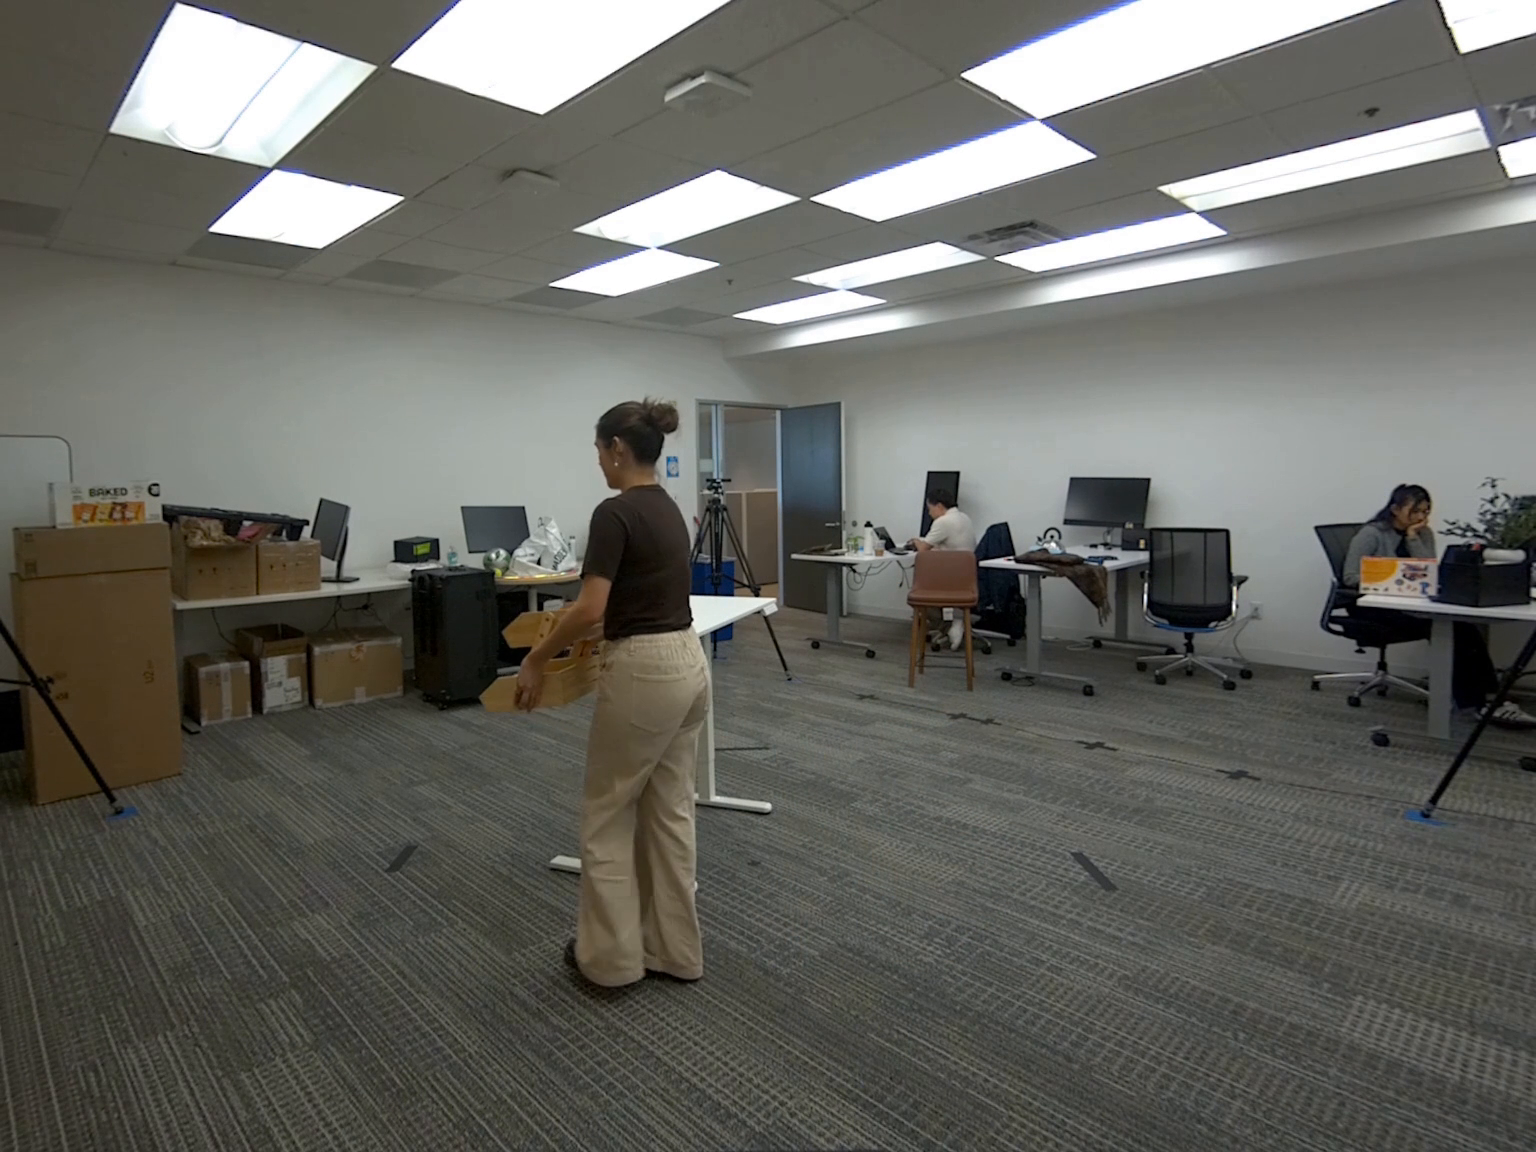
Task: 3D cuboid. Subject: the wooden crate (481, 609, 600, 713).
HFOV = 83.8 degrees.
[{"bbox_3d":[-0.630,0.217,2.455,0.305,0.273,0.321,-6,2,11],"label":"wooden crate"}]
